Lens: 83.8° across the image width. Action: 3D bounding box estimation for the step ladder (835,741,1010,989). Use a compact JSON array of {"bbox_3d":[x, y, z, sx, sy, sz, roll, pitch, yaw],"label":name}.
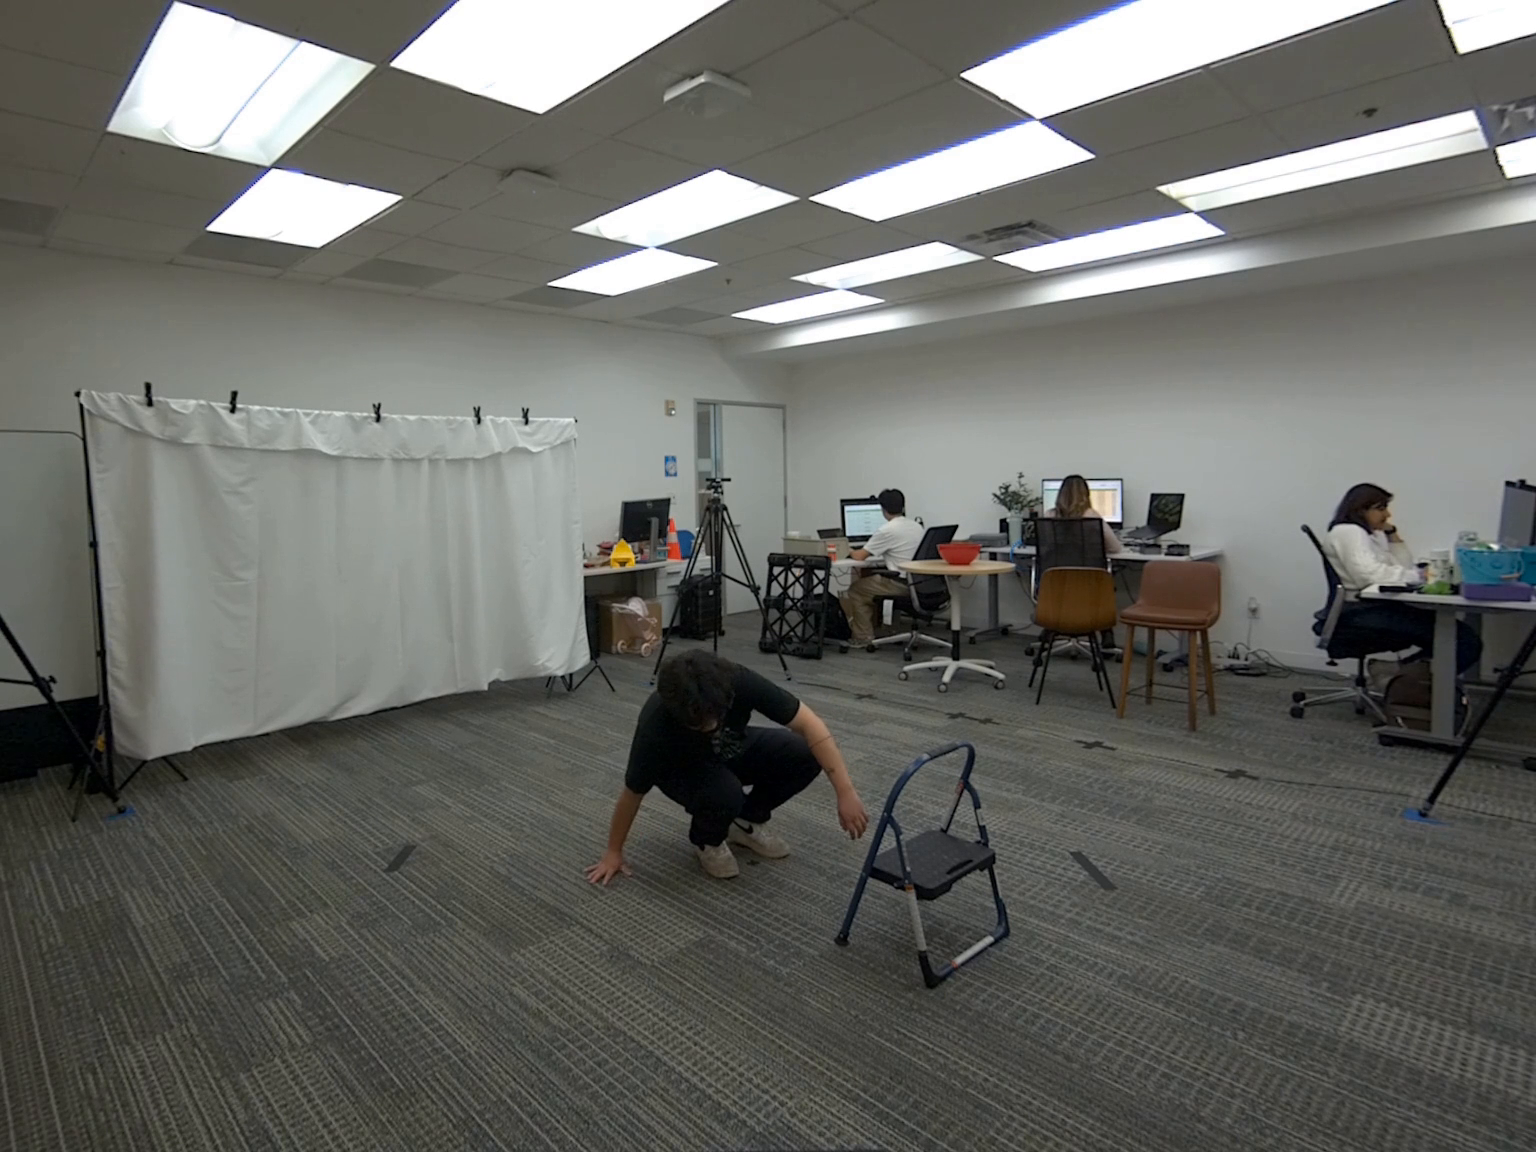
[{"bbox_3d":[0.468,0.794,2.563,0.419,0.604,0.360,-6,6,-44],"label":"step ladder"}]
